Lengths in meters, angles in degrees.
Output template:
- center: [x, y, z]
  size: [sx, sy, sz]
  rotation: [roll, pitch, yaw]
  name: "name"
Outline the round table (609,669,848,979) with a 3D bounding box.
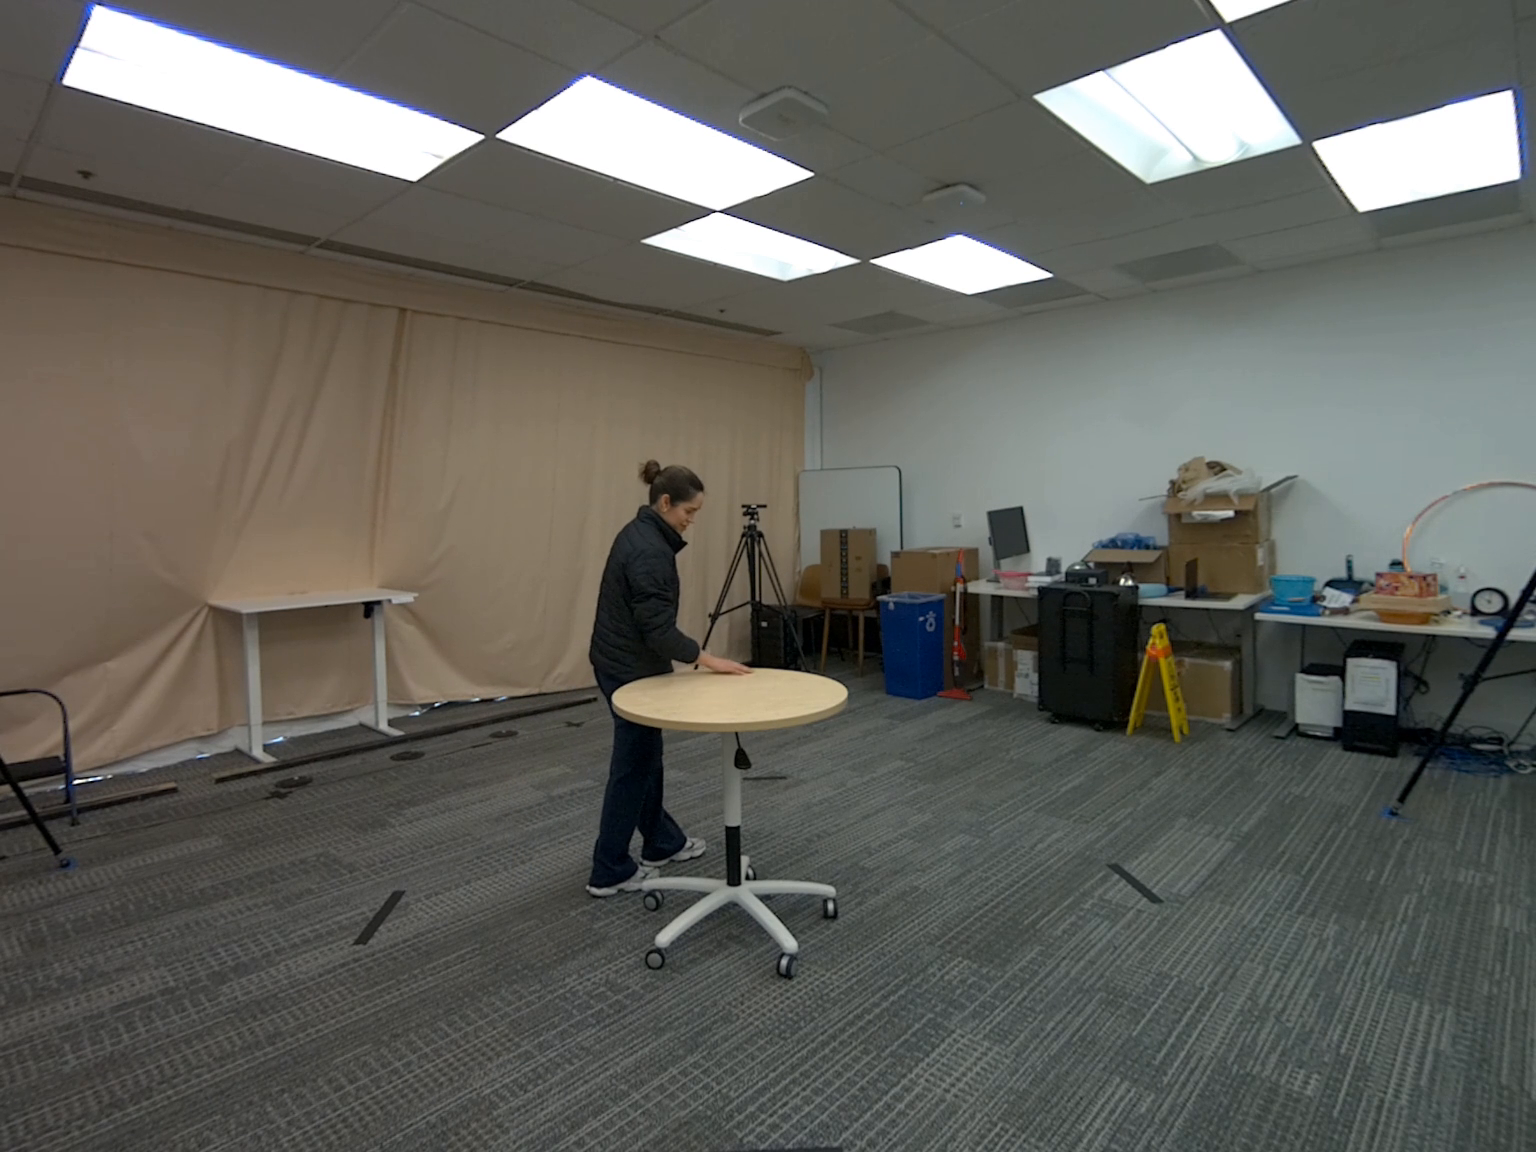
- center: [-0.109, 0.765, 2.782]
  size: [0.784, 0.784, 0.788]
  rotation: [-1, 4, -2]
  name: "round table"
